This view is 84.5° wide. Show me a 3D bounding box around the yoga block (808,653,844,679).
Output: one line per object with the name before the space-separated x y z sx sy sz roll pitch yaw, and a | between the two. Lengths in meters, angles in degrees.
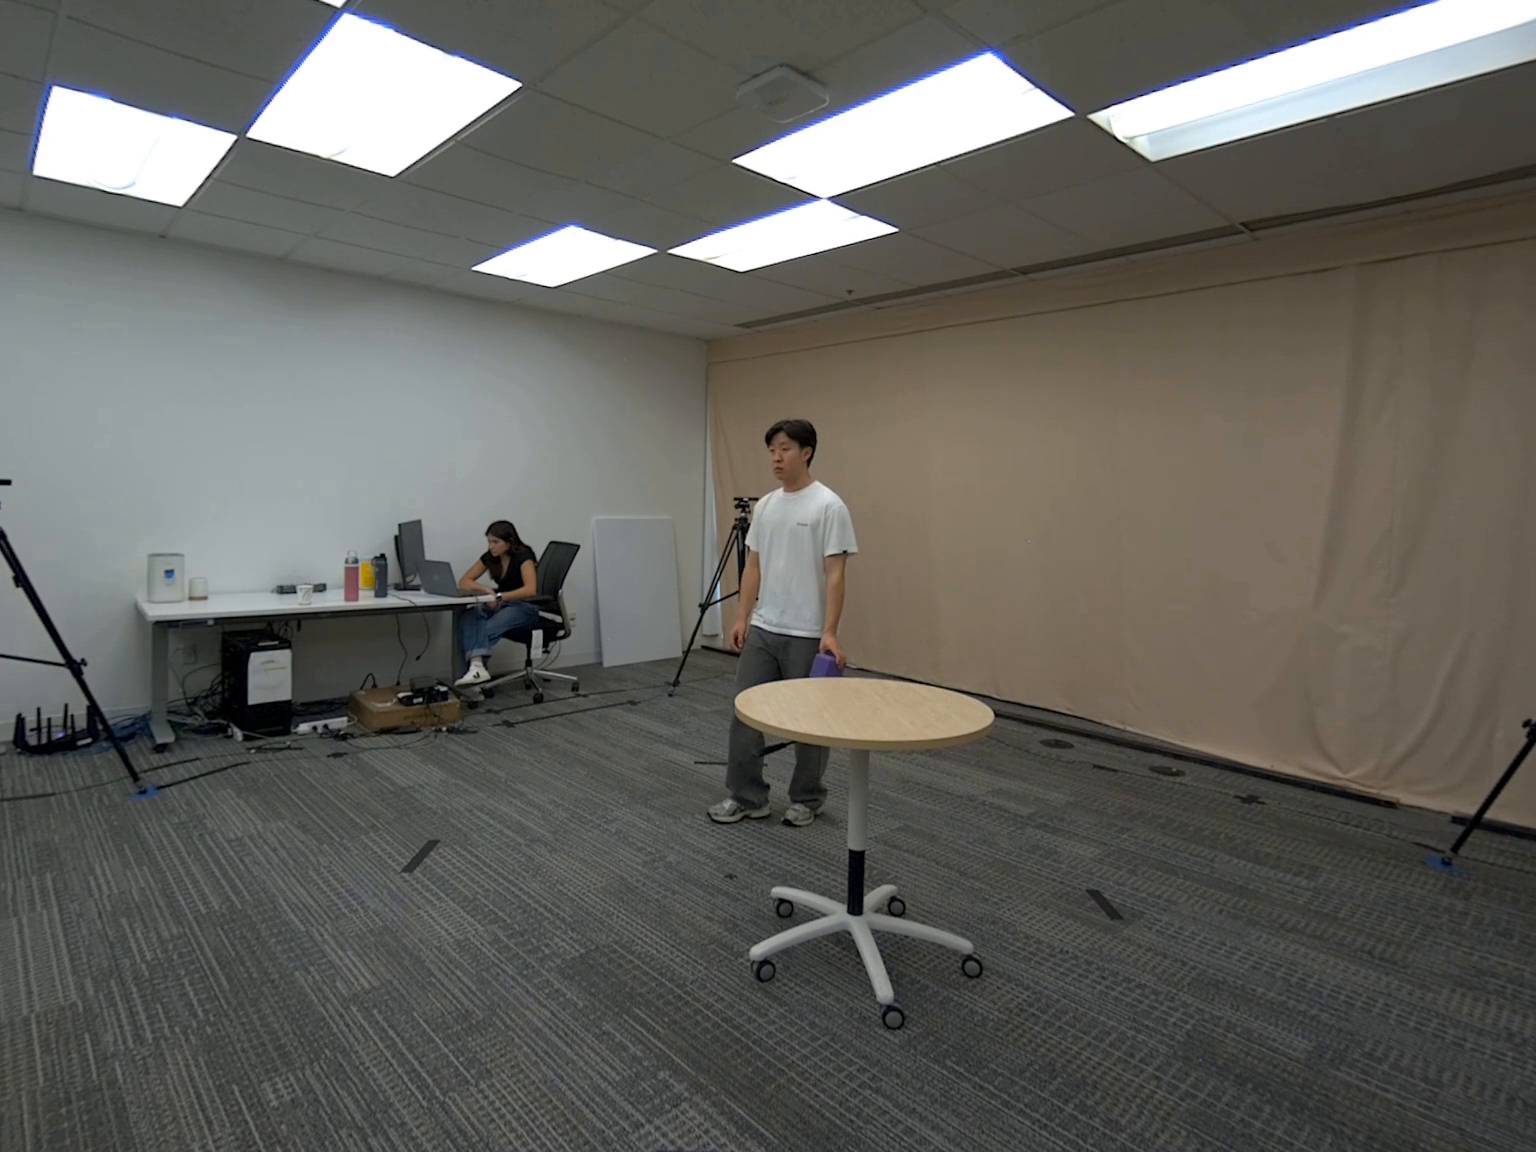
yoga block | 0.206 0.437 3.366 0.078 0.229 0.145 11 -2 30
